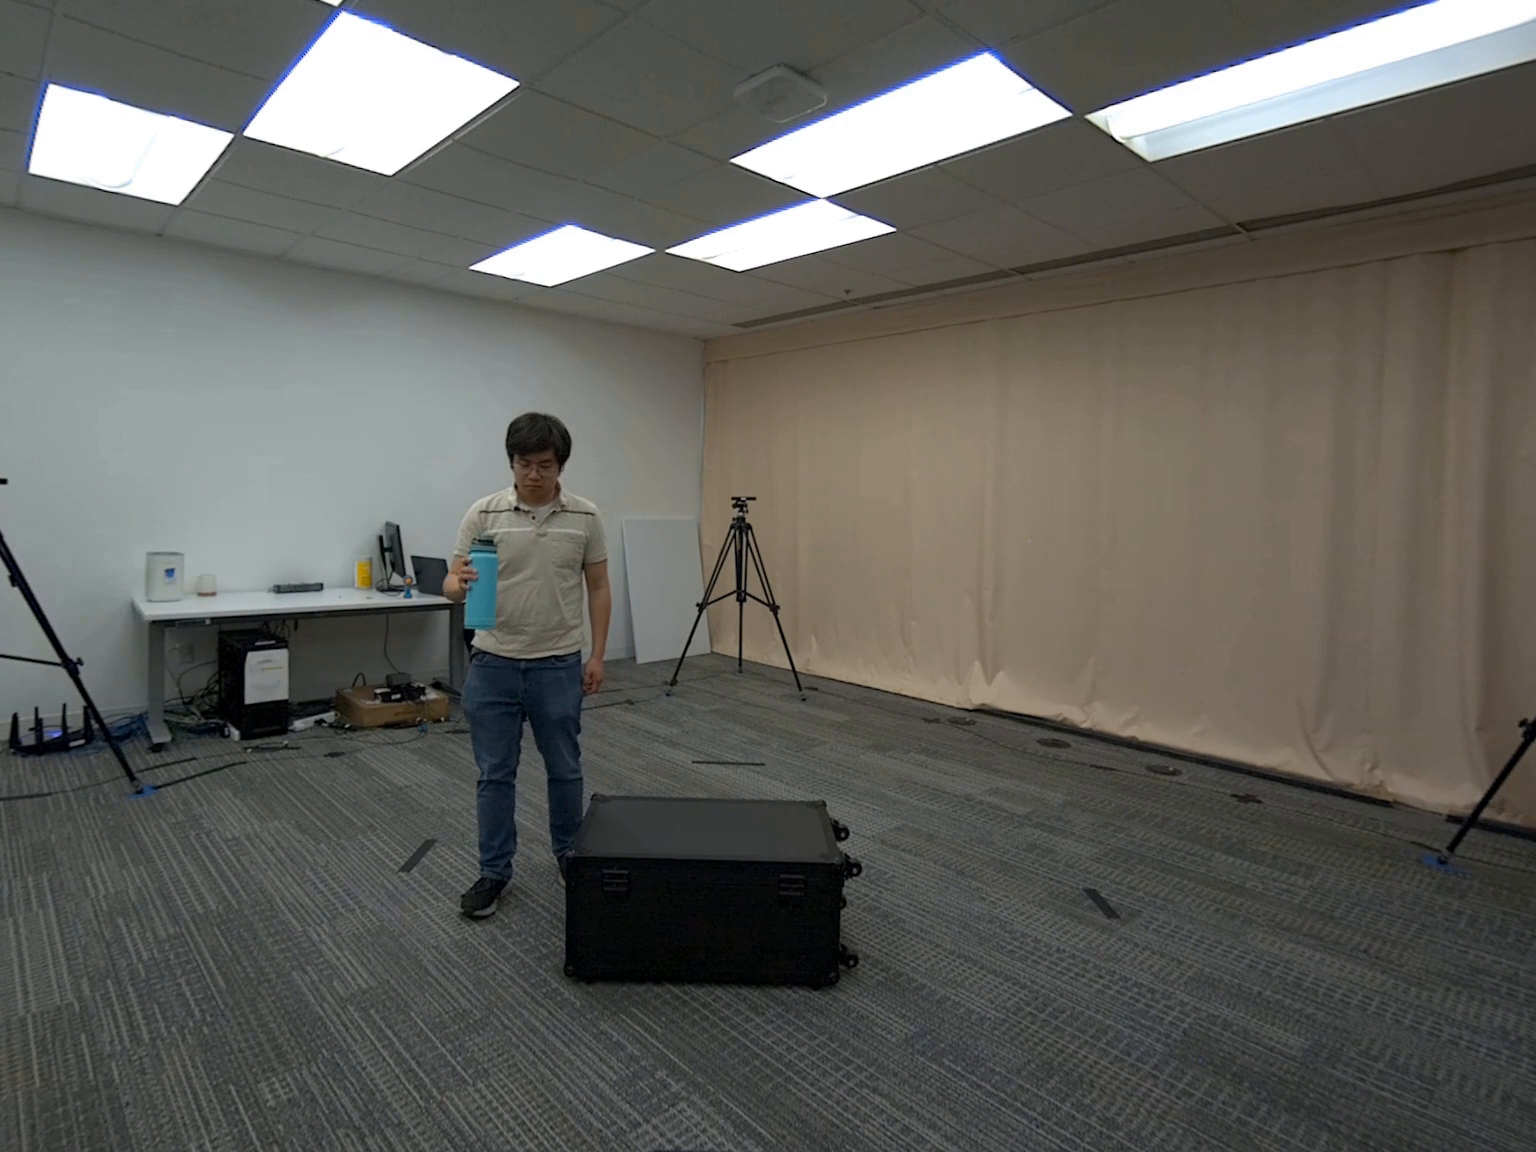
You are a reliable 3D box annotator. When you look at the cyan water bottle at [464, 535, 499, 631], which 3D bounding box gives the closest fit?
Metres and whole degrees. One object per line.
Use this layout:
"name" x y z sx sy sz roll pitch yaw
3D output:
"cyan water bottle" -0.881 0.017 2.534 0.092 0.284 0.092 -2 -1 -1
